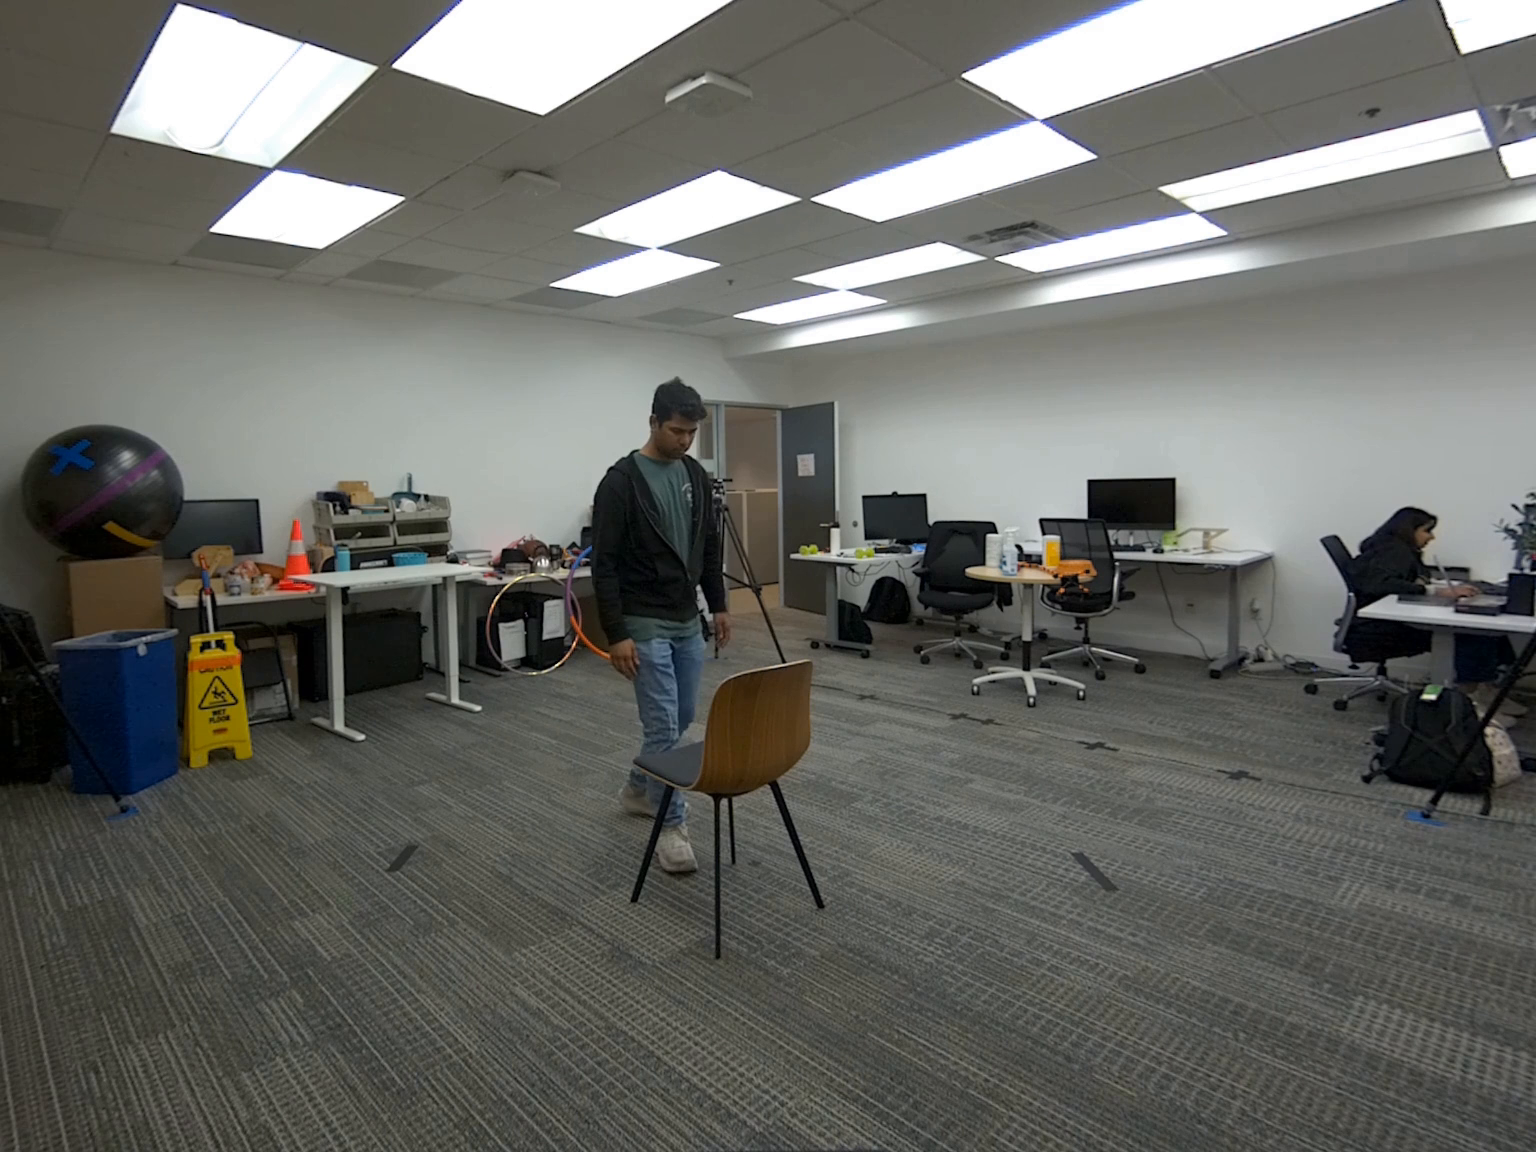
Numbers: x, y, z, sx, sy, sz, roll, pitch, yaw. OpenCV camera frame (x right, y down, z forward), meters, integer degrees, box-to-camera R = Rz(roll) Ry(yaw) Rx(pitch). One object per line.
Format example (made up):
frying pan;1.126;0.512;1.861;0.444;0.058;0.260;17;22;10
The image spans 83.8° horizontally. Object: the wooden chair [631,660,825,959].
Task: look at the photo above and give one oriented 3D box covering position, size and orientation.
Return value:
wooden chair;-0.139;0.658;2.773;0.466;0.871;0.541;-6;11;-41
